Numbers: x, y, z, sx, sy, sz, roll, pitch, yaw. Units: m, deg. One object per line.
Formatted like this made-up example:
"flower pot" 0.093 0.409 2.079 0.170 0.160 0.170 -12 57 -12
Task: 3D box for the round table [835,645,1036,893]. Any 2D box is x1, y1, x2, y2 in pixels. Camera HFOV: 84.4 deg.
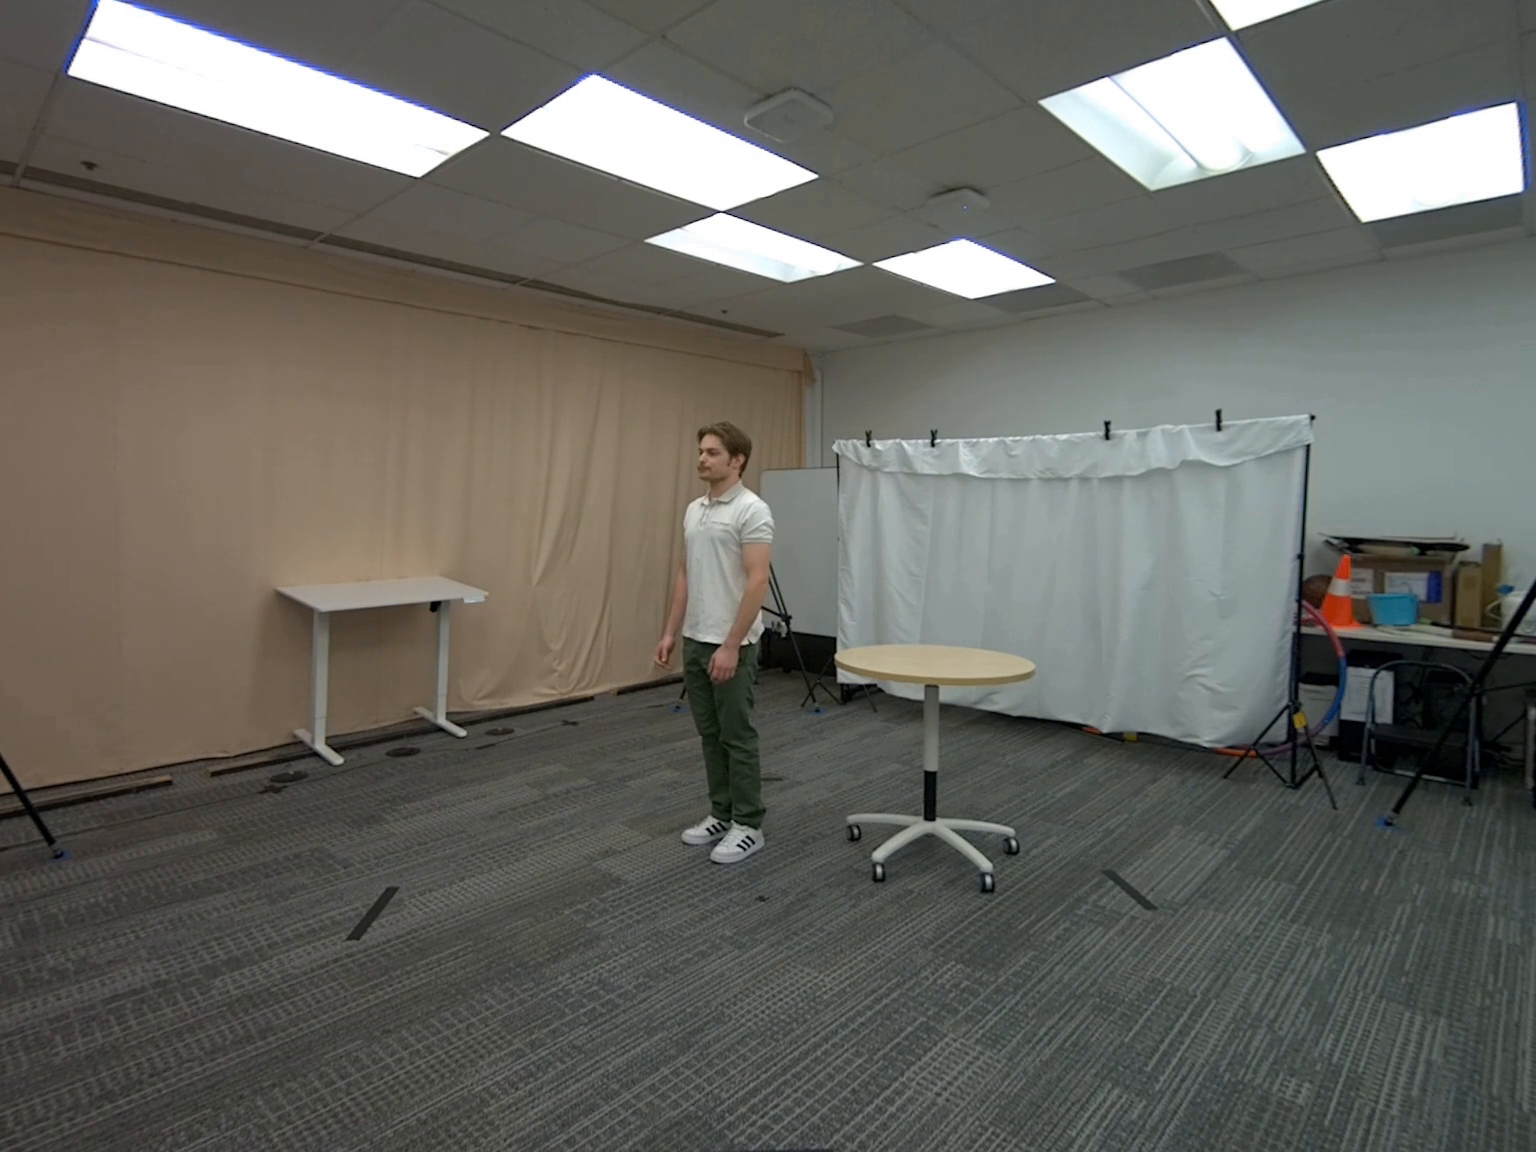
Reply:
"round table" 0.636 0.717 3.348 0.784 0.785 0.788 1 3 -2
